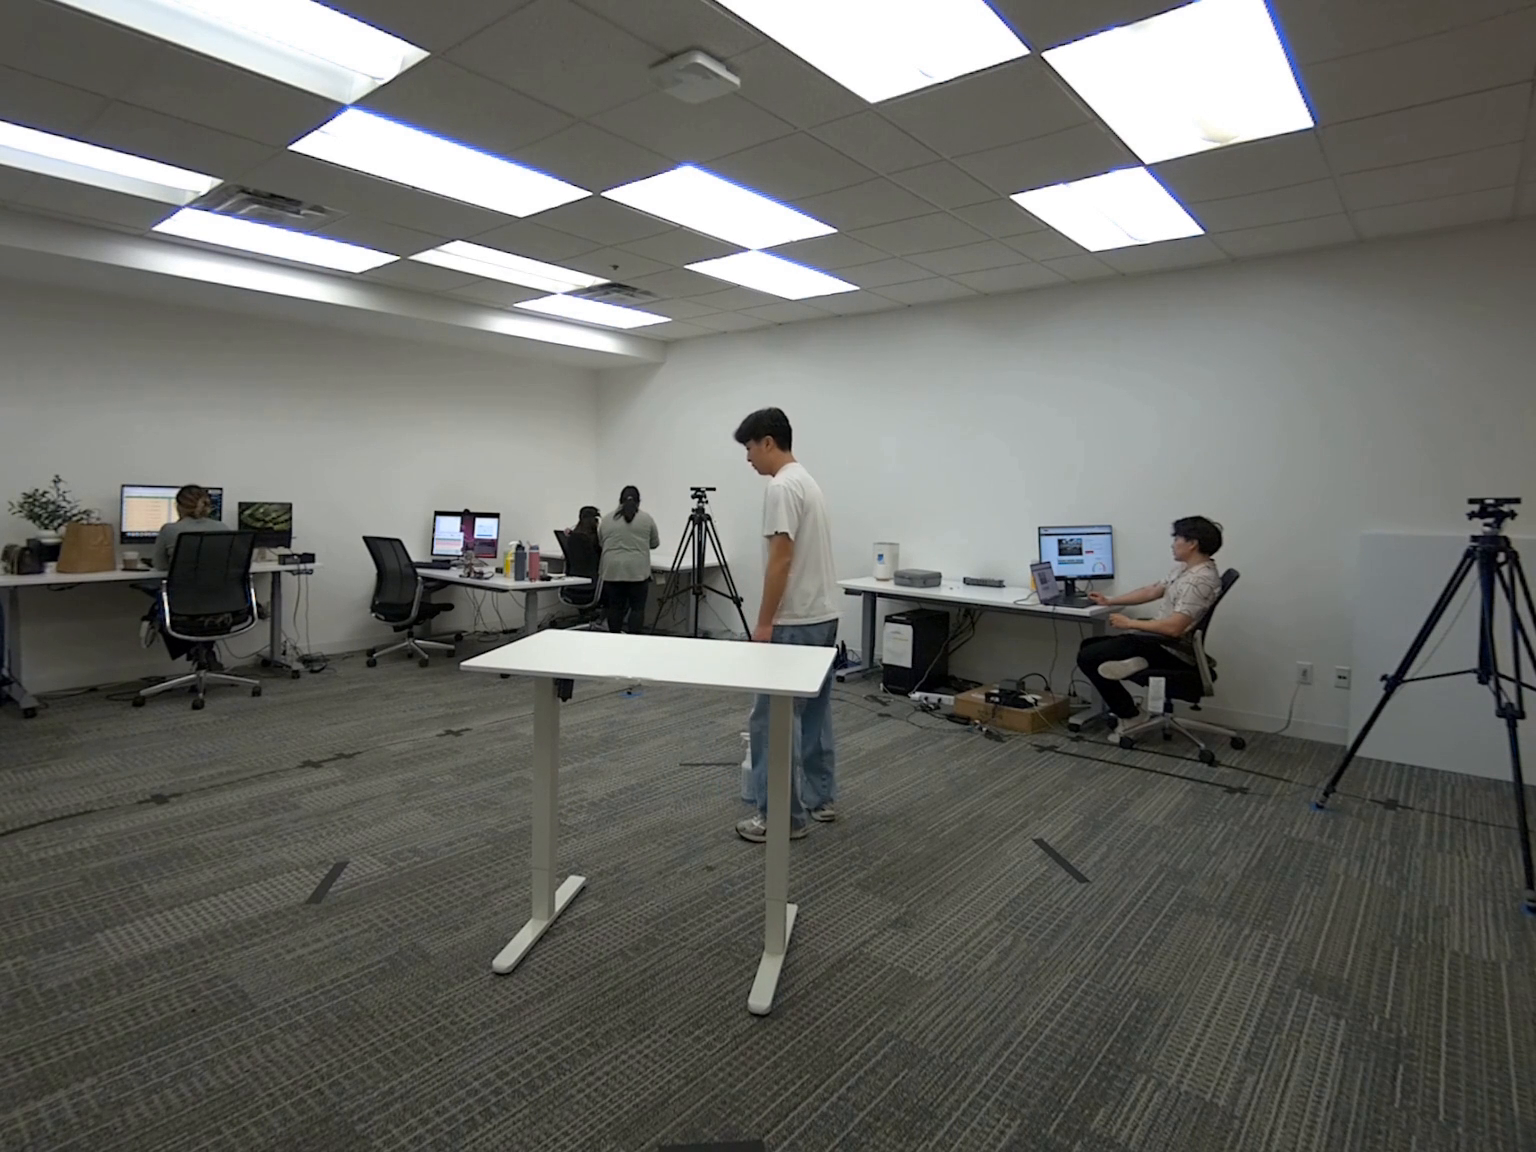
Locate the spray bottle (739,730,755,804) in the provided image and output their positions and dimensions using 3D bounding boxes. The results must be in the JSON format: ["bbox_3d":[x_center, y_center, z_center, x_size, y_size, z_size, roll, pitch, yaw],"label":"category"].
[{"bbox_3d":[-0.090,0.854,3.806,0.092,0.296,0.085,1,4,28],"label":"spray bottle"}]
